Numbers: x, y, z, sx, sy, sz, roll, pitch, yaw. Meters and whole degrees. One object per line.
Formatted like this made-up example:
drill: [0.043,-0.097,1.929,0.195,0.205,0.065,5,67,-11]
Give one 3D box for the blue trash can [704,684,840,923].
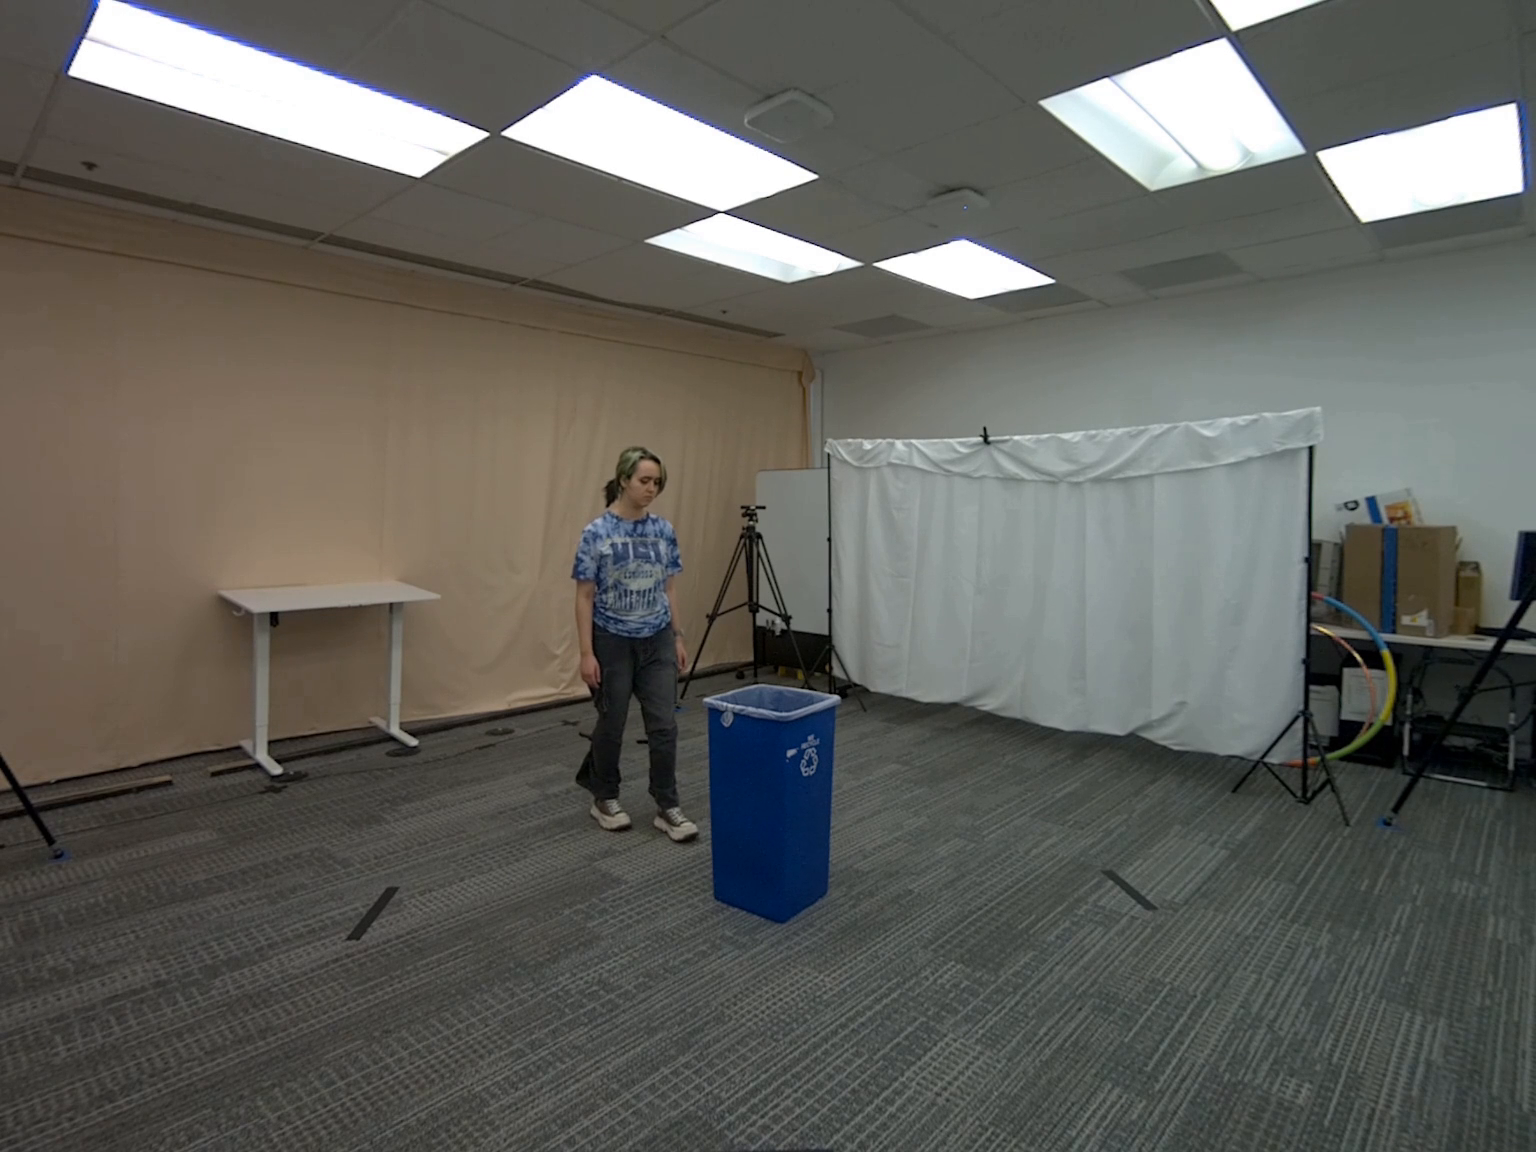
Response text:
blue trash can: [0.019,0.784,2.994,0.390,0.712,0.363,3,5,37]
